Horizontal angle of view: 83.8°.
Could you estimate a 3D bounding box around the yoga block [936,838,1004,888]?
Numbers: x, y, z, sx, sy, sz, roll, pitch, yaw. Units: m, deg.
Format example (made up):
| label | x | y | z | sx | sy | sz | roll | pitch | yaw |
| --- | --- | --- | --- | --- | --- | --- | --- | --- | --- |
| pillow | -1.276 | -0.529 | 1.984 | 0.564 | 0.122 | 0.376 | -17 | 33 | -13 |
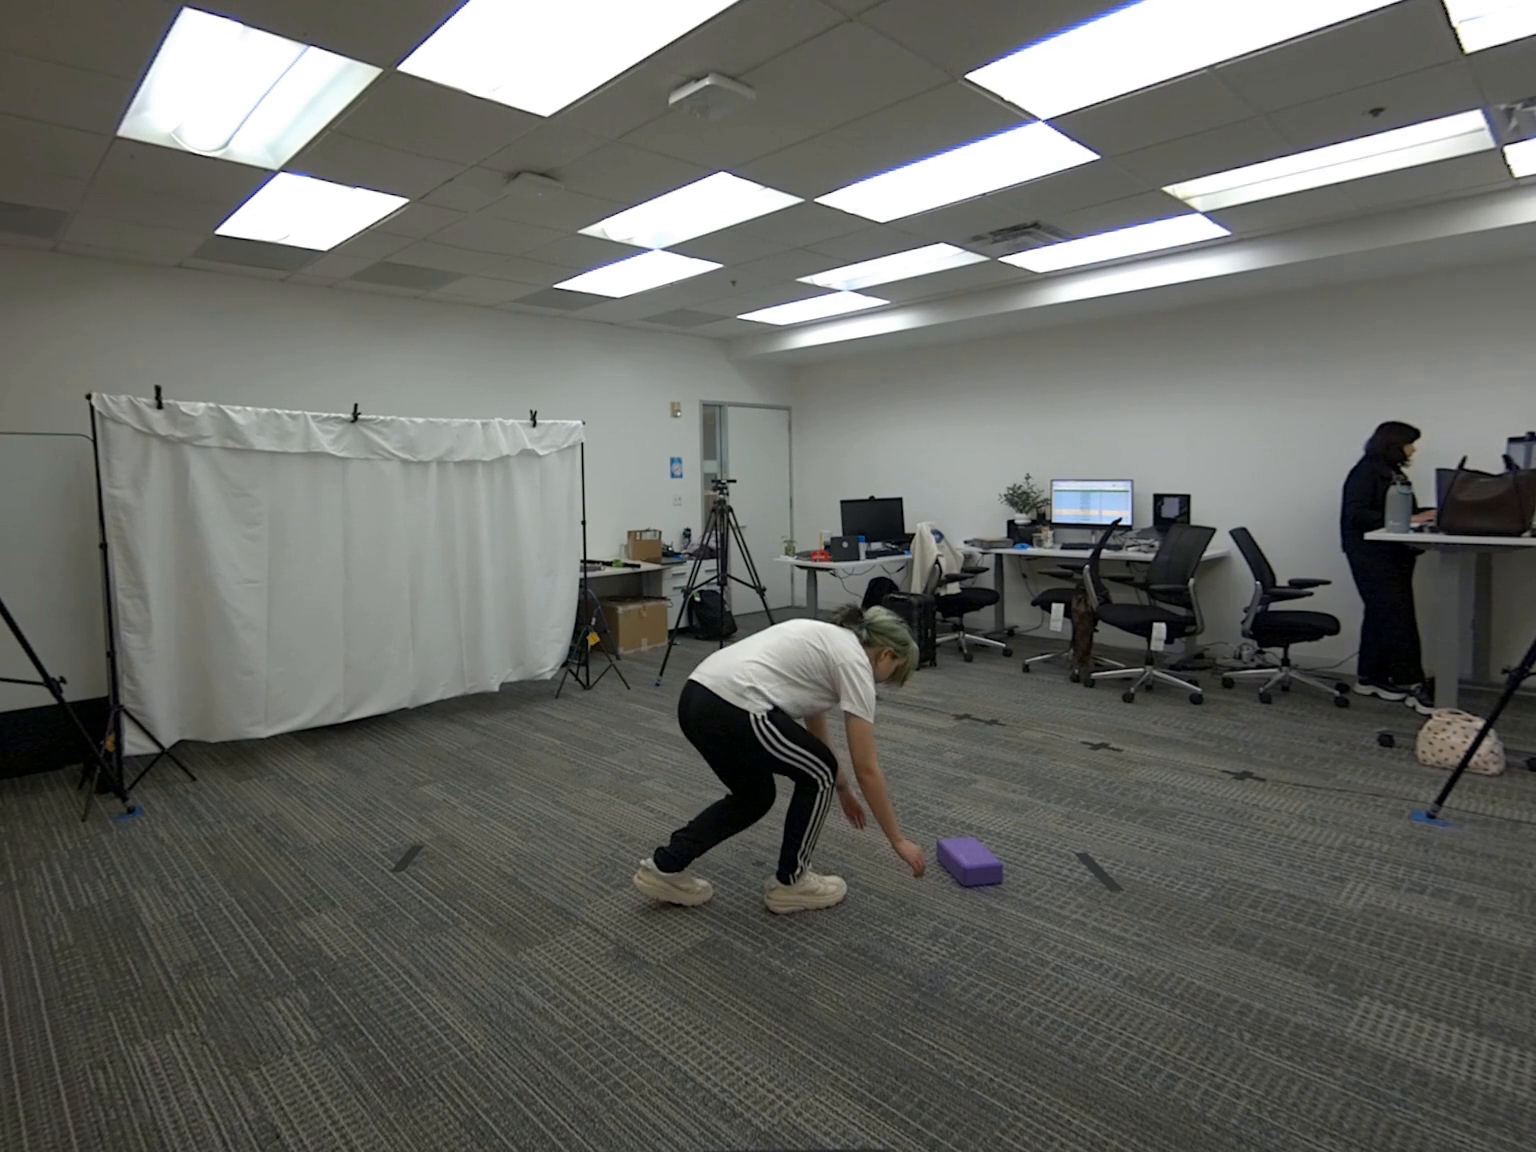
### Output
| label | x | y | z | sx | sy | sz | roll | pitch | yaw |
| --- | --- | --- | --- | --- | --- | --- | --- | --- | --- |
| yoga block | 0.711 | 1.003 | 3.012 | 0.147 | 0.076 | 0.233 | -2 | 6 | -12 |
